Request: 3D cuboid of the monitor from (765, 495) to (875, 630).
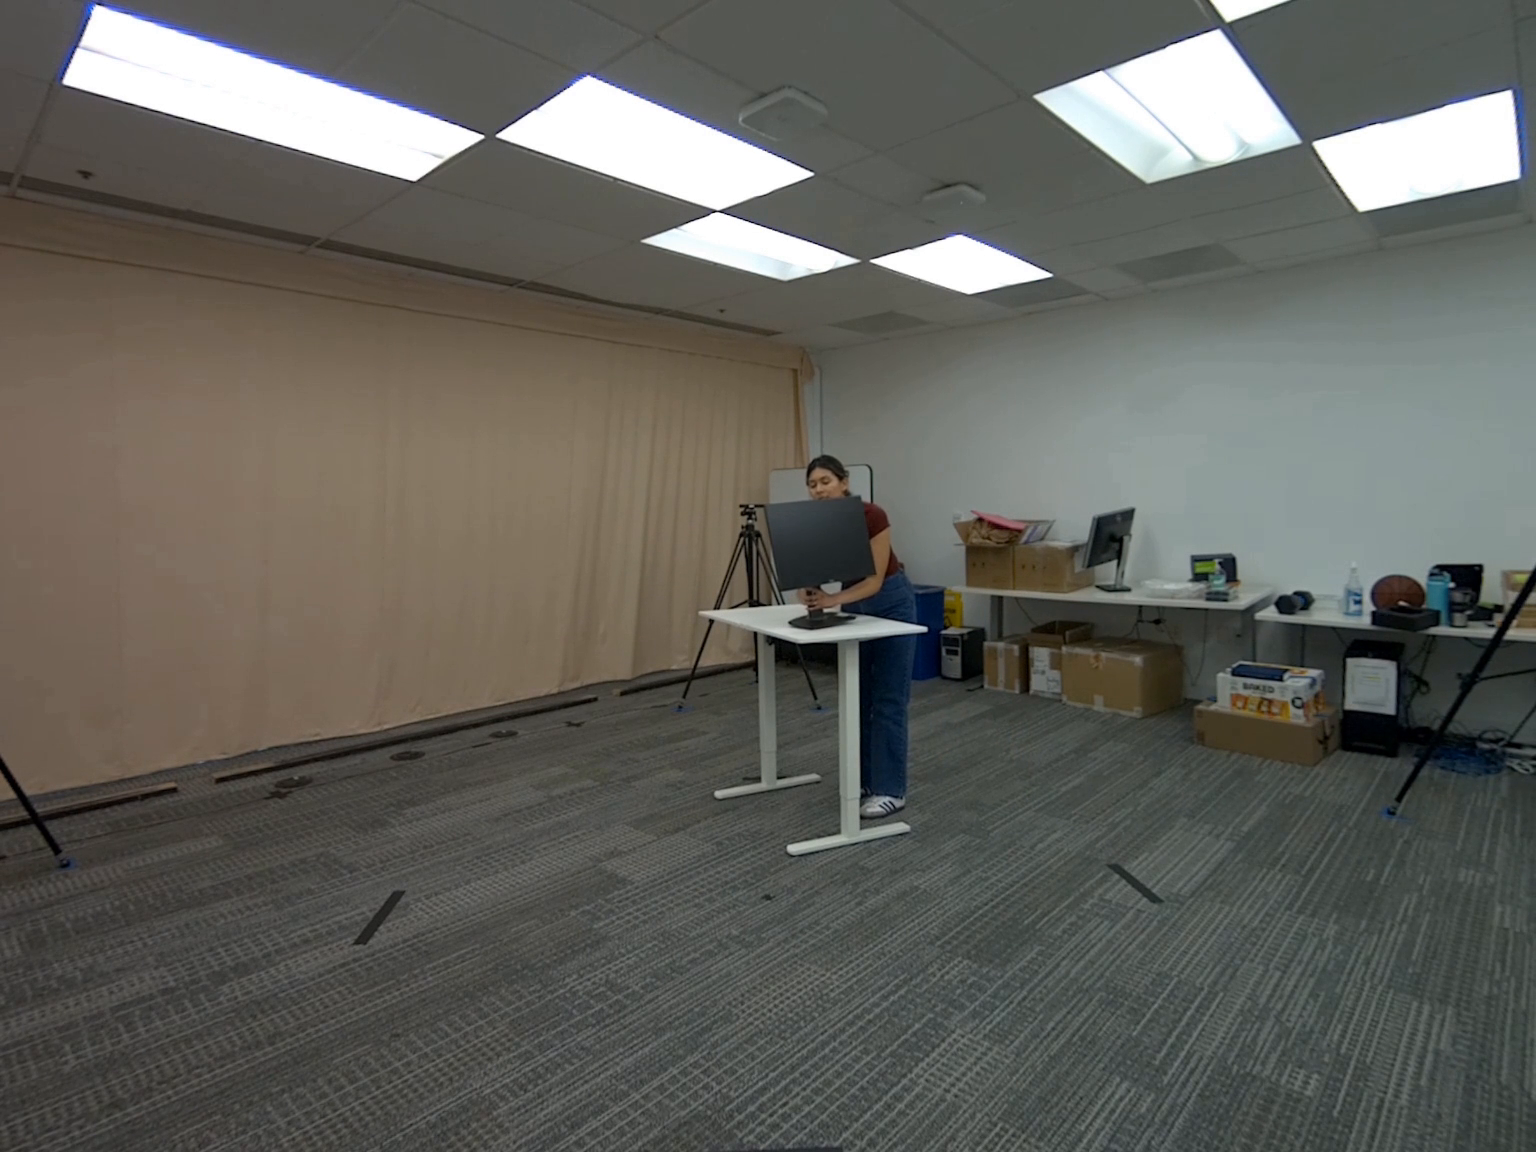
[{"bbox_3d":[0.215,-0.057,3.518,0.524,0.520,0.193,-8,9,-39],"label":"monitor"}]
